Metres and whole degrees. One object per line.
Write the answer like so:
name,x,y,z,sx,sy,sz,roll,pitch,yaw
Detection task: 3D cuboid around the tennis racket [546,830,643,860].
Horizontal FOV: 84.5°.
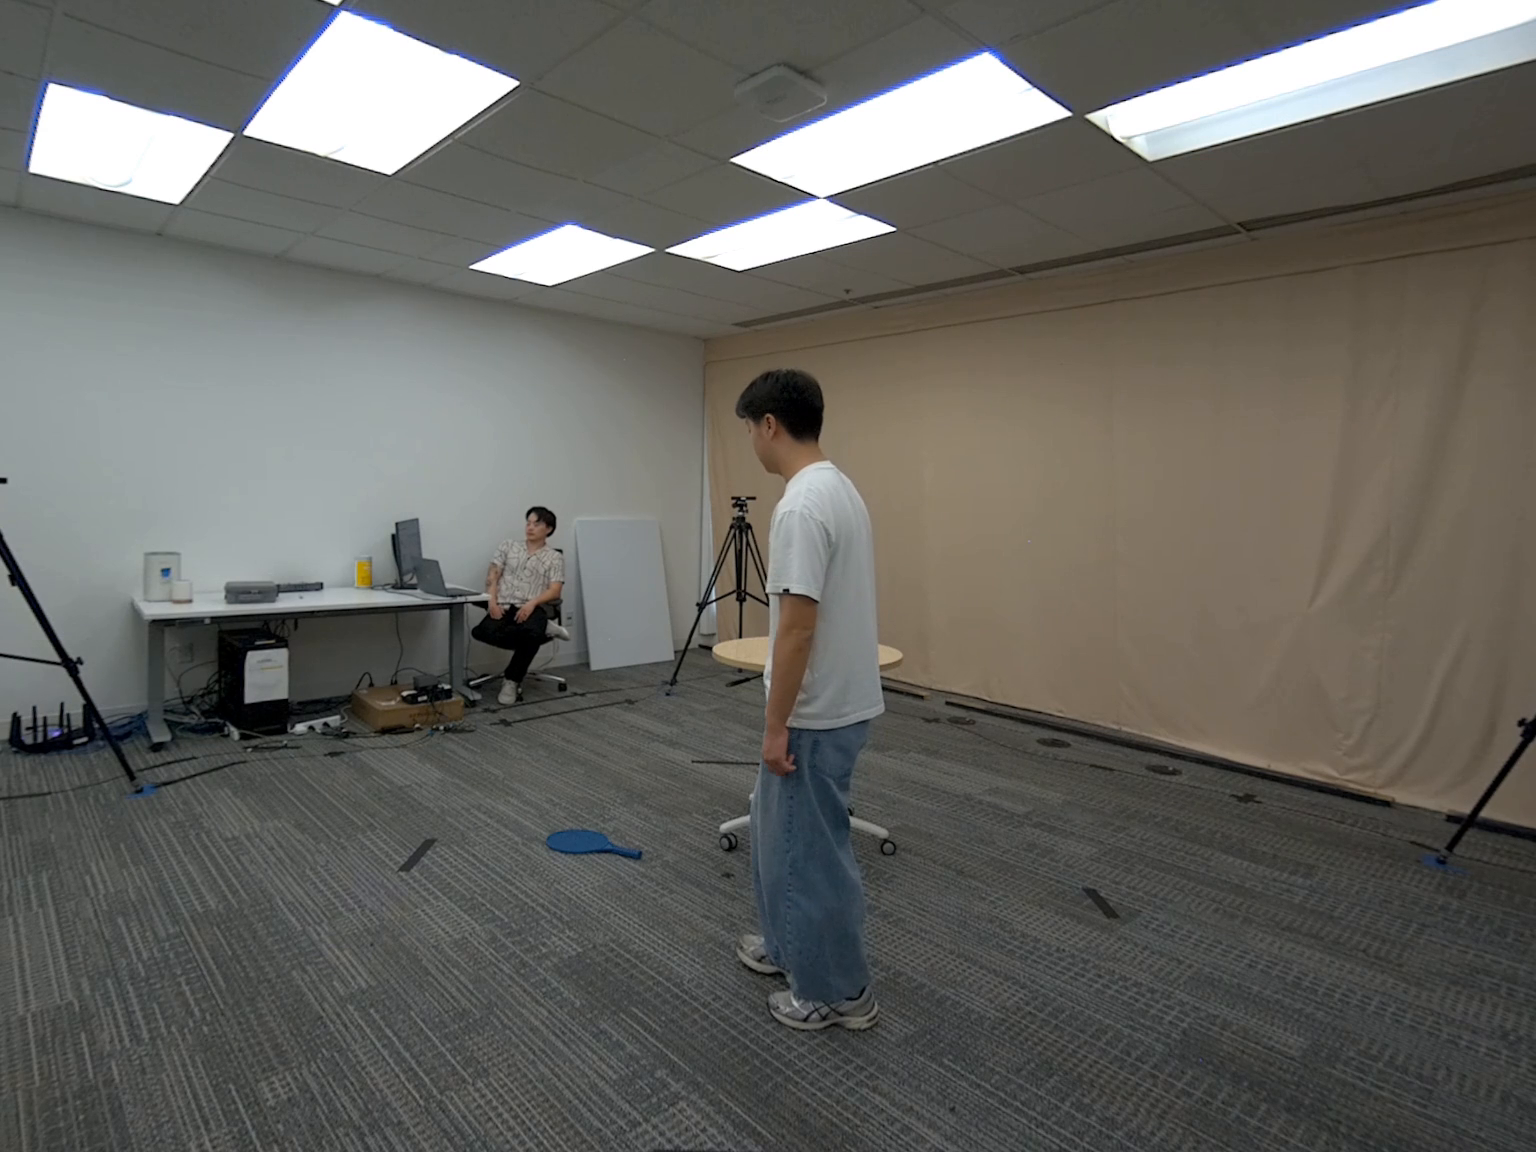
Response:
tennis racket,-0.692,1.059,3.320,0.442,0.031,0.210,2,6,28
